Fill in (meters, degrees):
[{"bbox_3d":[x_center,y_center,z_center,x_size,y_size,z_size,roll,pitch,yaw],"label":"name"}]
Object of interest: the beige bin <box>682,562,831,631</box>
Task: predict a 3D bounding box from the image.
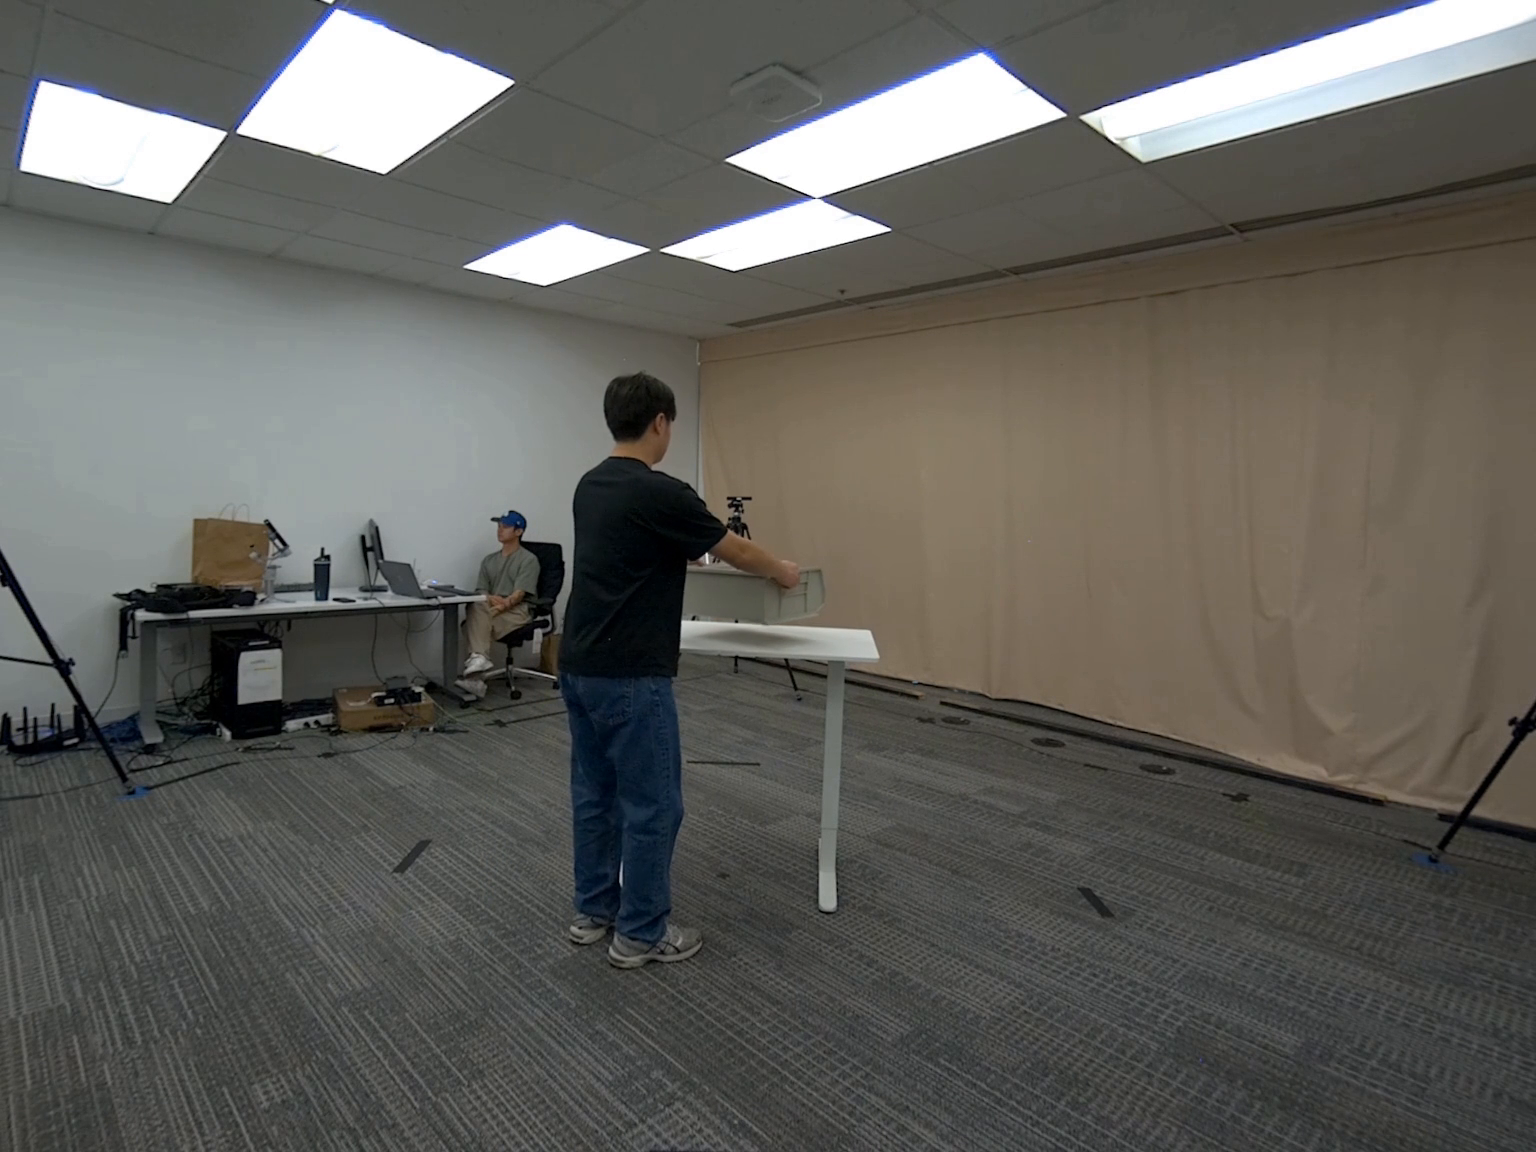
[{"bbox_3d":[-0.058,0.058,3.061,0.432,0.188,0.369,3,6,38],"label":"beige bin"}]
